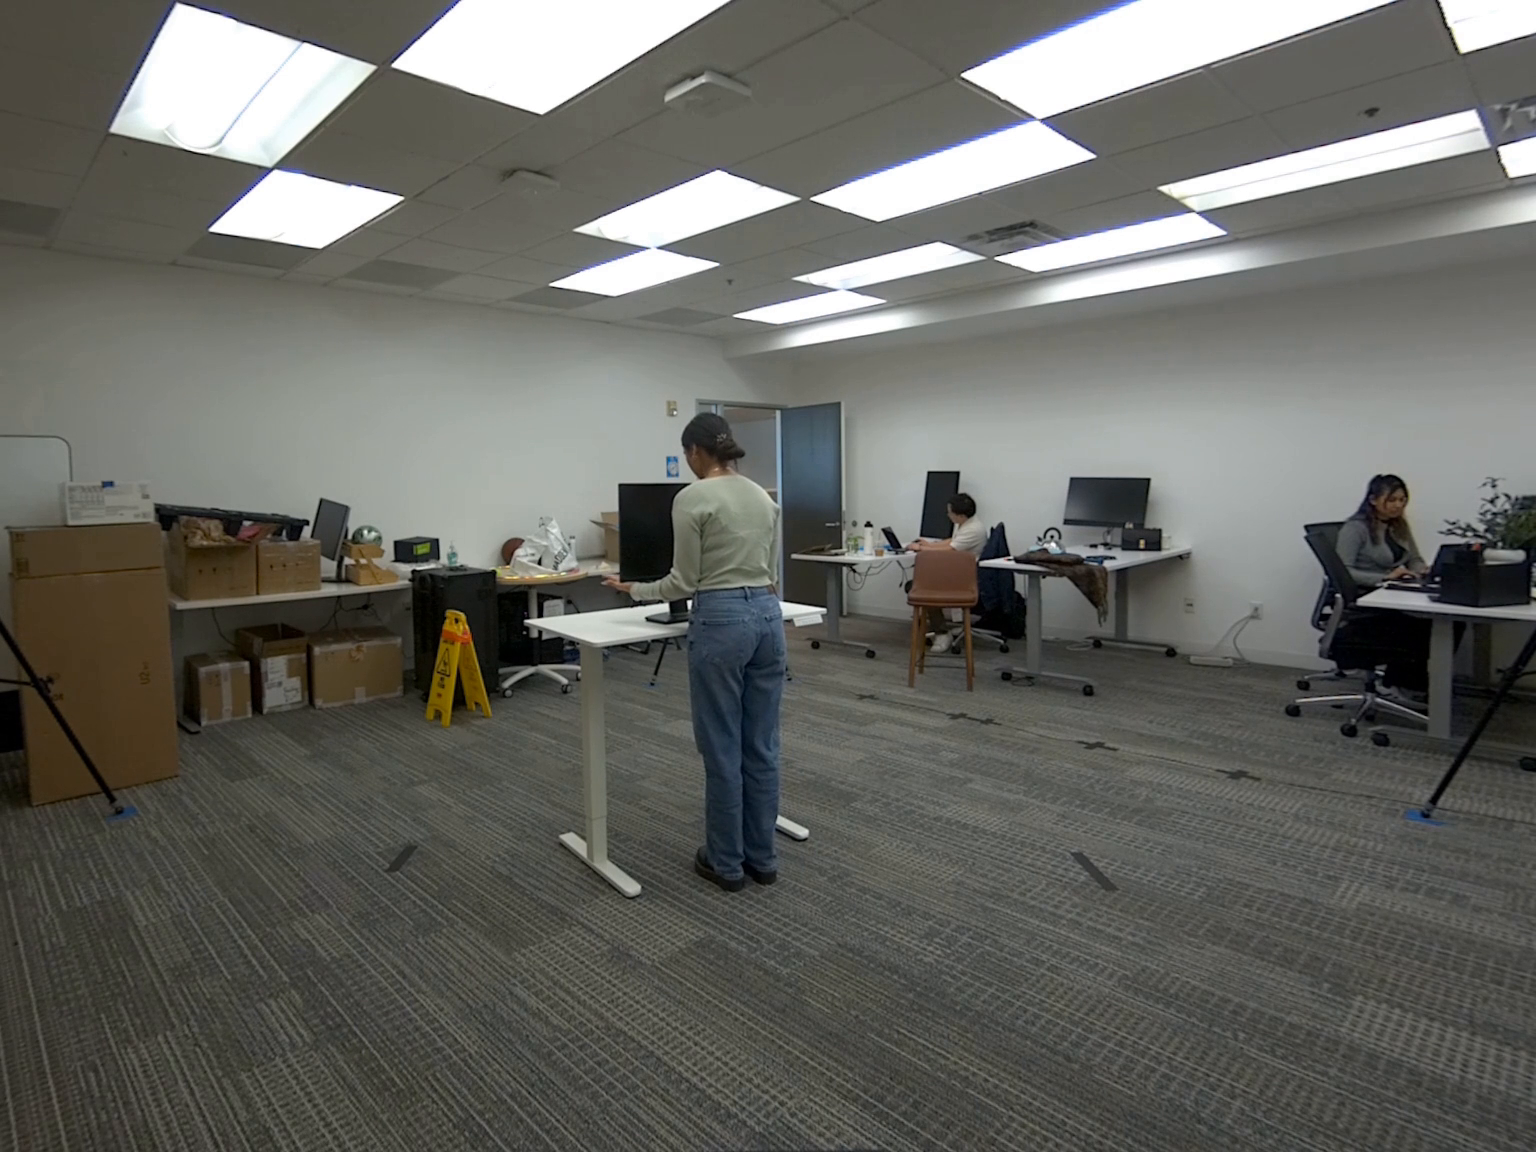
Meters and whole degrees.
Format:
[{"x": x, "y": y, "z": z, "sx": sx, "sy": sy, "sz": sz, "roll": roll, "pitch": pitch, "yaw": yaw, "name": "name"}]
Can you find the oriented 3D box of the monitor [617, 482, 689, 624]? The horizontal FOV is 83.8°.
[{"x": -0.316, "y": -0.086, "z": 3.173, "sx": 0.525, "sy": 0.519, "sz": 0.193, "roll": -5, "pitch": 11, "yaw": -40, "name": "monitor"}]
